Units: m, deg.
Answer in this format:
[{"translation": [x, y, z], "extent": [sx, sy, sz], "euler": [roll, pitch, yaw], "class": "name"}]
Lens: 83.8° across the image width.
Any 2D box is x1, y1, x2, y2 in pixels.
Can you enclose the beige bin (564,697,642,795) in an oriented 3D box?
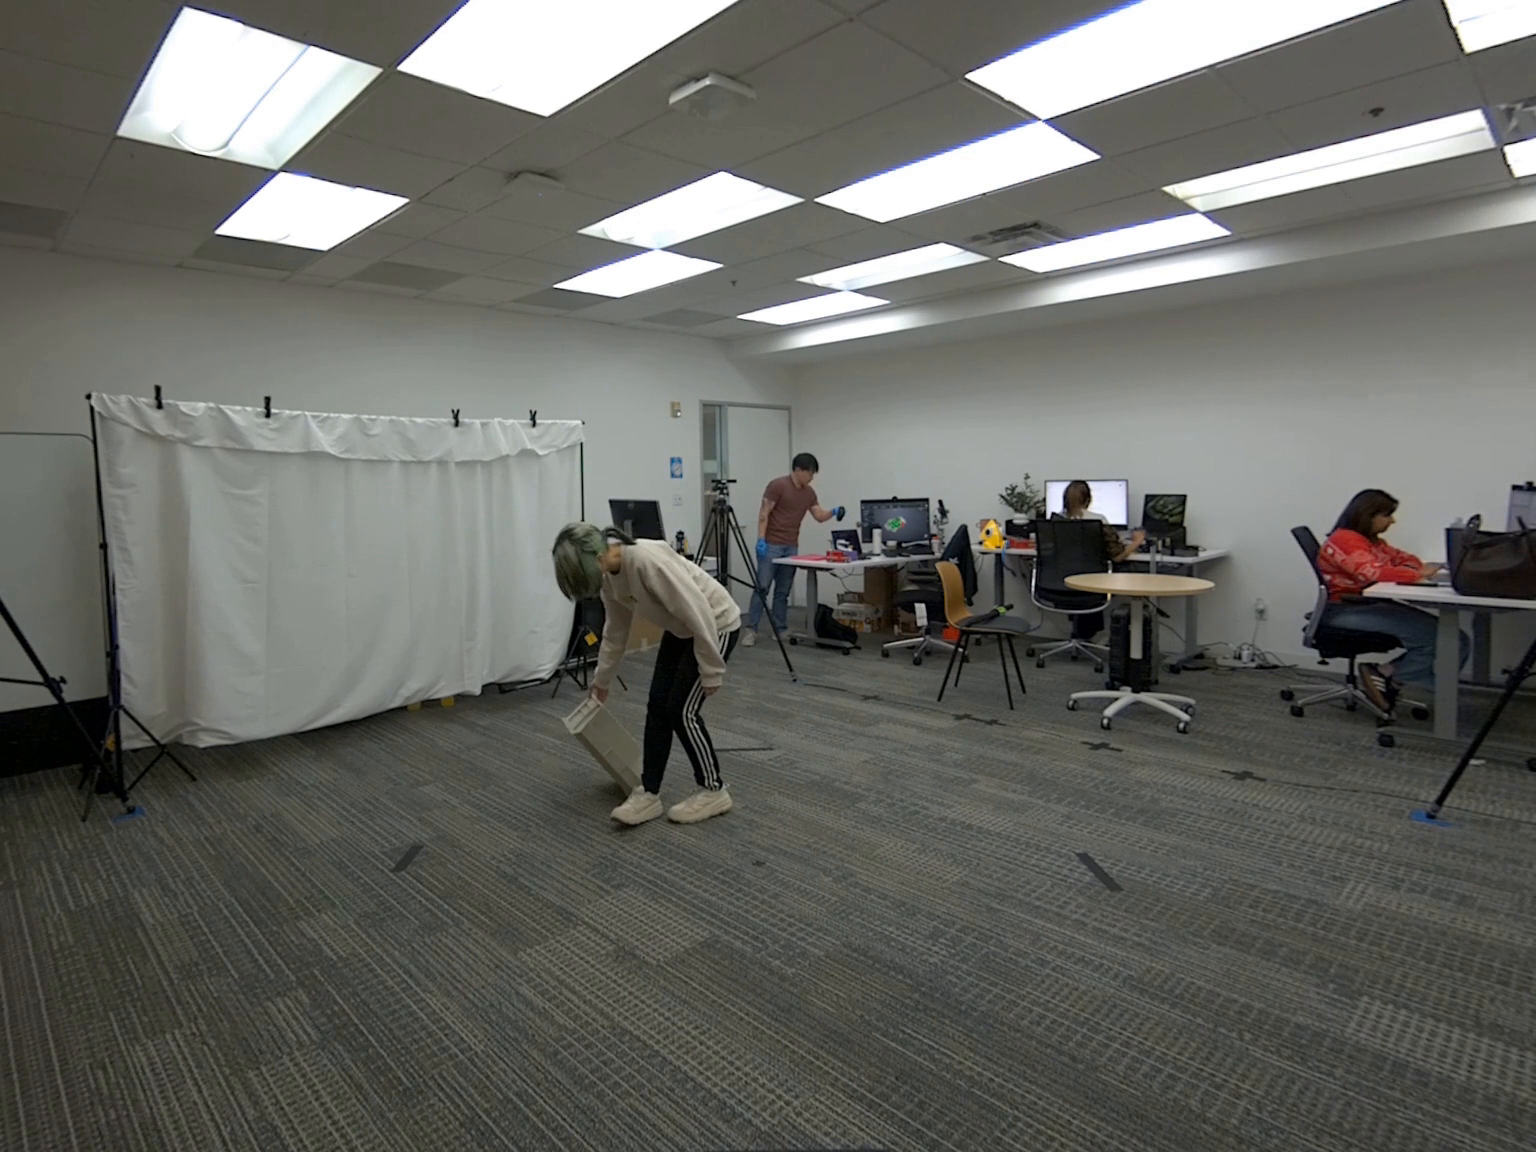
[{"translation": [-0.710, 0.768, 3.829], "extent": [0.189, 0.415, 0.384], "euler": [-43, 14, -11], "class": "beige bin"}]
